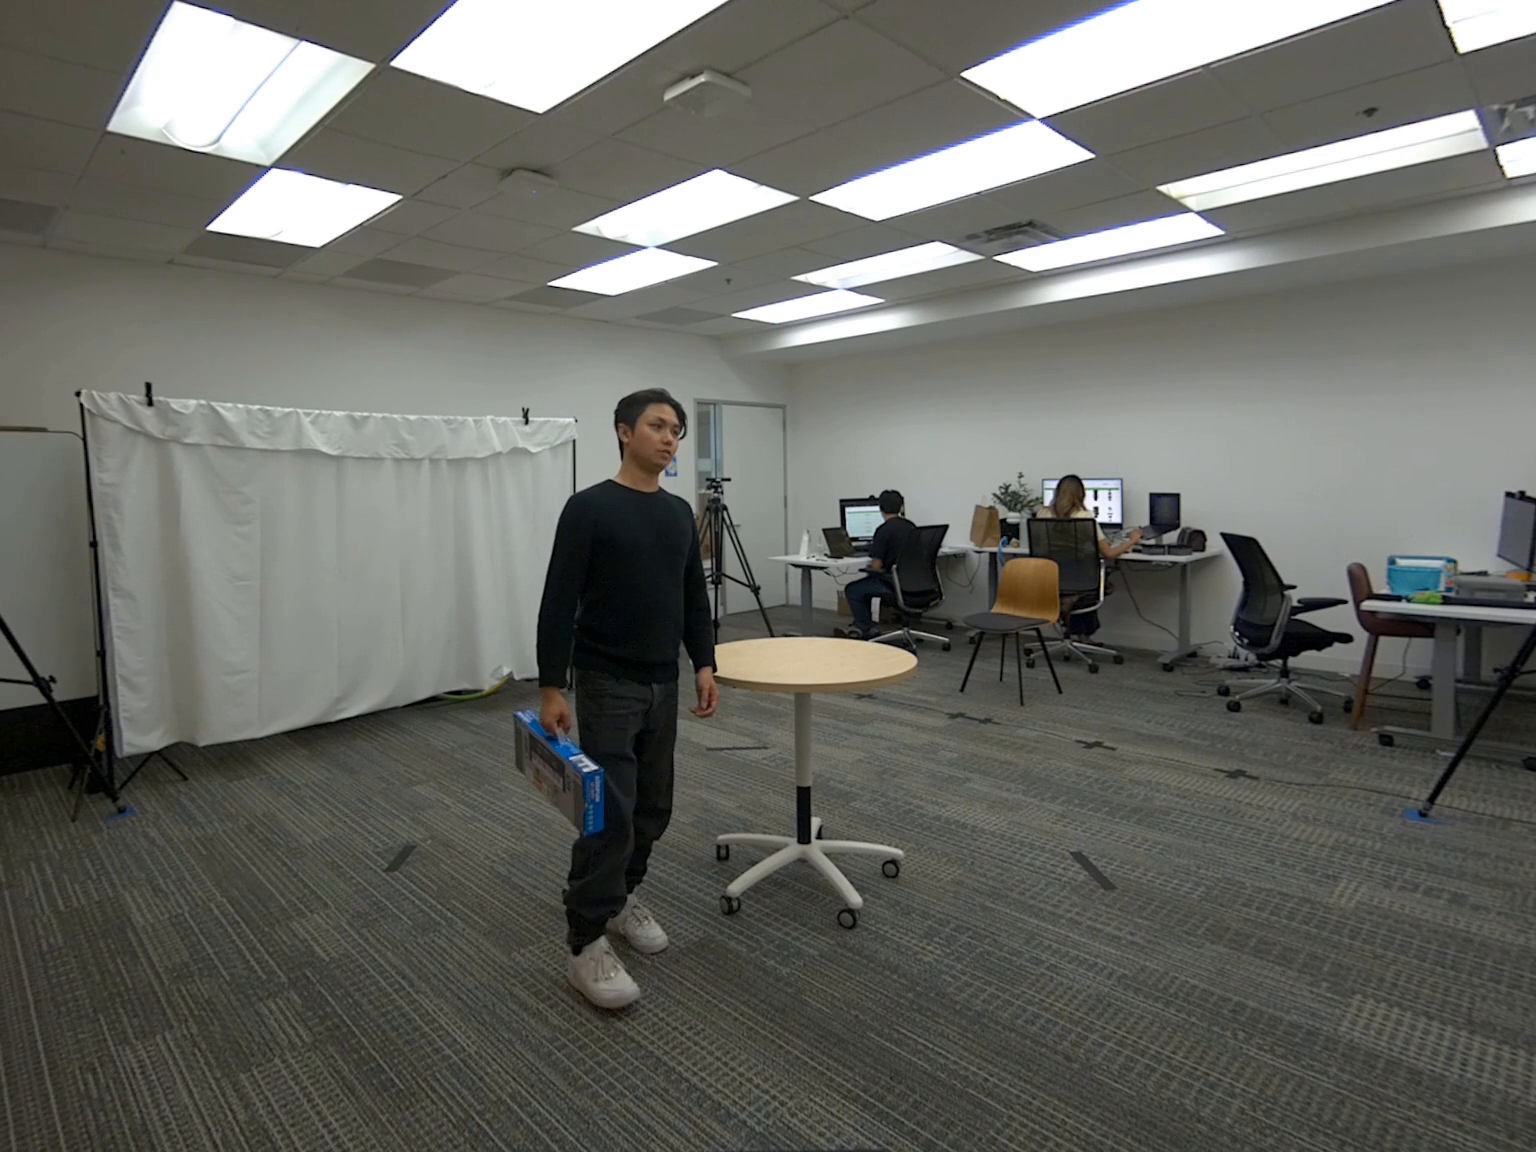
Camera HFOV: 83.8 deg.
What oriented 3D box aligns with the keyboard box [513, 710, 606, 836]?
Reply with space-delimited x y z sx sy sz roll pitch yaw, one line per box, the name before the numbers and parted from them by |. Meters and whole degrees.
keyboard box | -0.572 0.529 2.332 0.058 0.174 0.453 -7 17 -38
